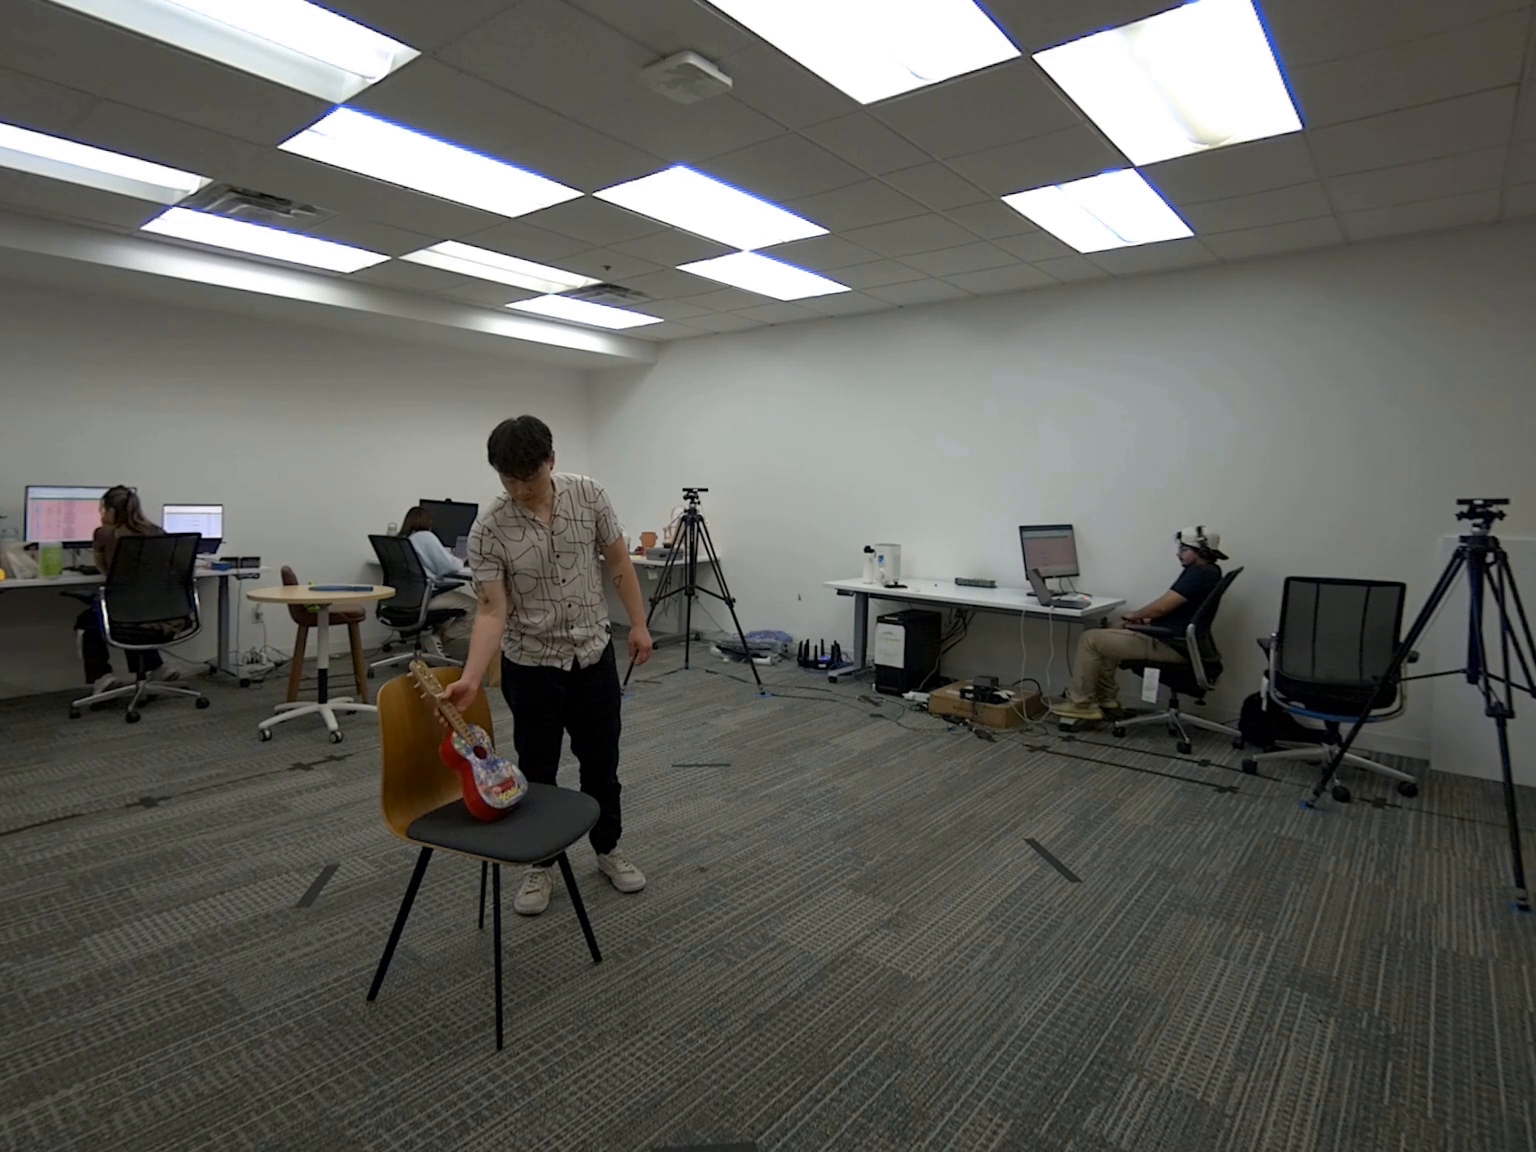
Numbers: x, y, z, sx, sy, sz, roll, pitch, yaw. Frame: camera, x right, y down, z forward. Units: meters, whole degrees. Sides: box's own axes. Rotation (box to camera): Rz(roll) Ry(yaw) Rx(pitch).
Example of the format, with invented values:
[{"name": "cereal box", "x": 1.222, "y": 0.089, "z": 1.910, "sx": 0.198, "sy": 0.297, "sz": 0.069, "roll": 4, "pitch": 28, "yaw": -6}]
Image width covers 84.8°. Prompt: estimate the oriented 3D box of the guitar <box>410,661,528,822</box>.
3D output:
[{"name": "guitar", "x": -0.874, "y": 0.454, "z": 2.419, "sx": 0.071, "sy": 0.510, "sz": 0.188, "roll": -42, "pitch": -19, "yaw": 17}]
